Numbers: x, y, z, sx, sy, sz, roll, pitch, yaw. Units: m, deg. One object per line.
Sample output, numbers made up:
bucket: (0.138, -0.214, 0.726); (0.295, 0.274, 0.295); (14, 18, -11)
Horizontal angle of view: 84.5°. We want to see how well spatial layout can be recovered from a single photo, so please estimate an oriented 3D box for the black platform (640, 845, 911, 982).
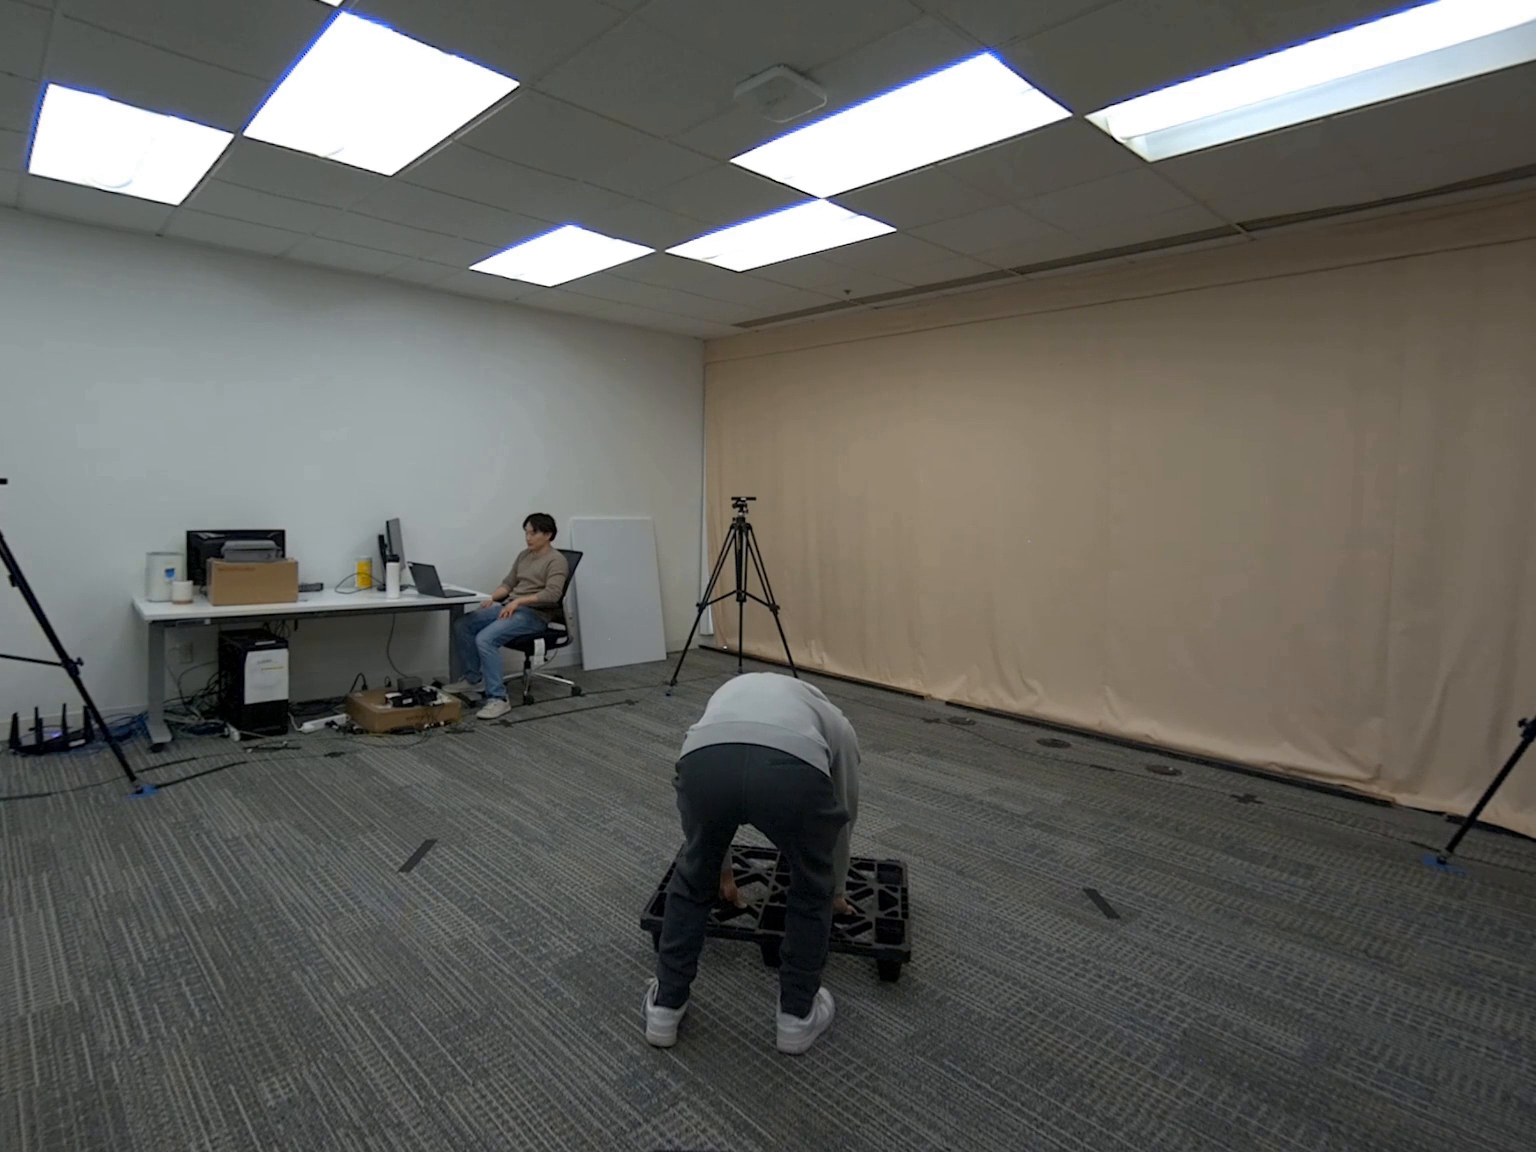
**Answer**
black platform: (0.045, 1.075, 2.729); (0.812, 0.143, 0.602); (2, 6, 10)
